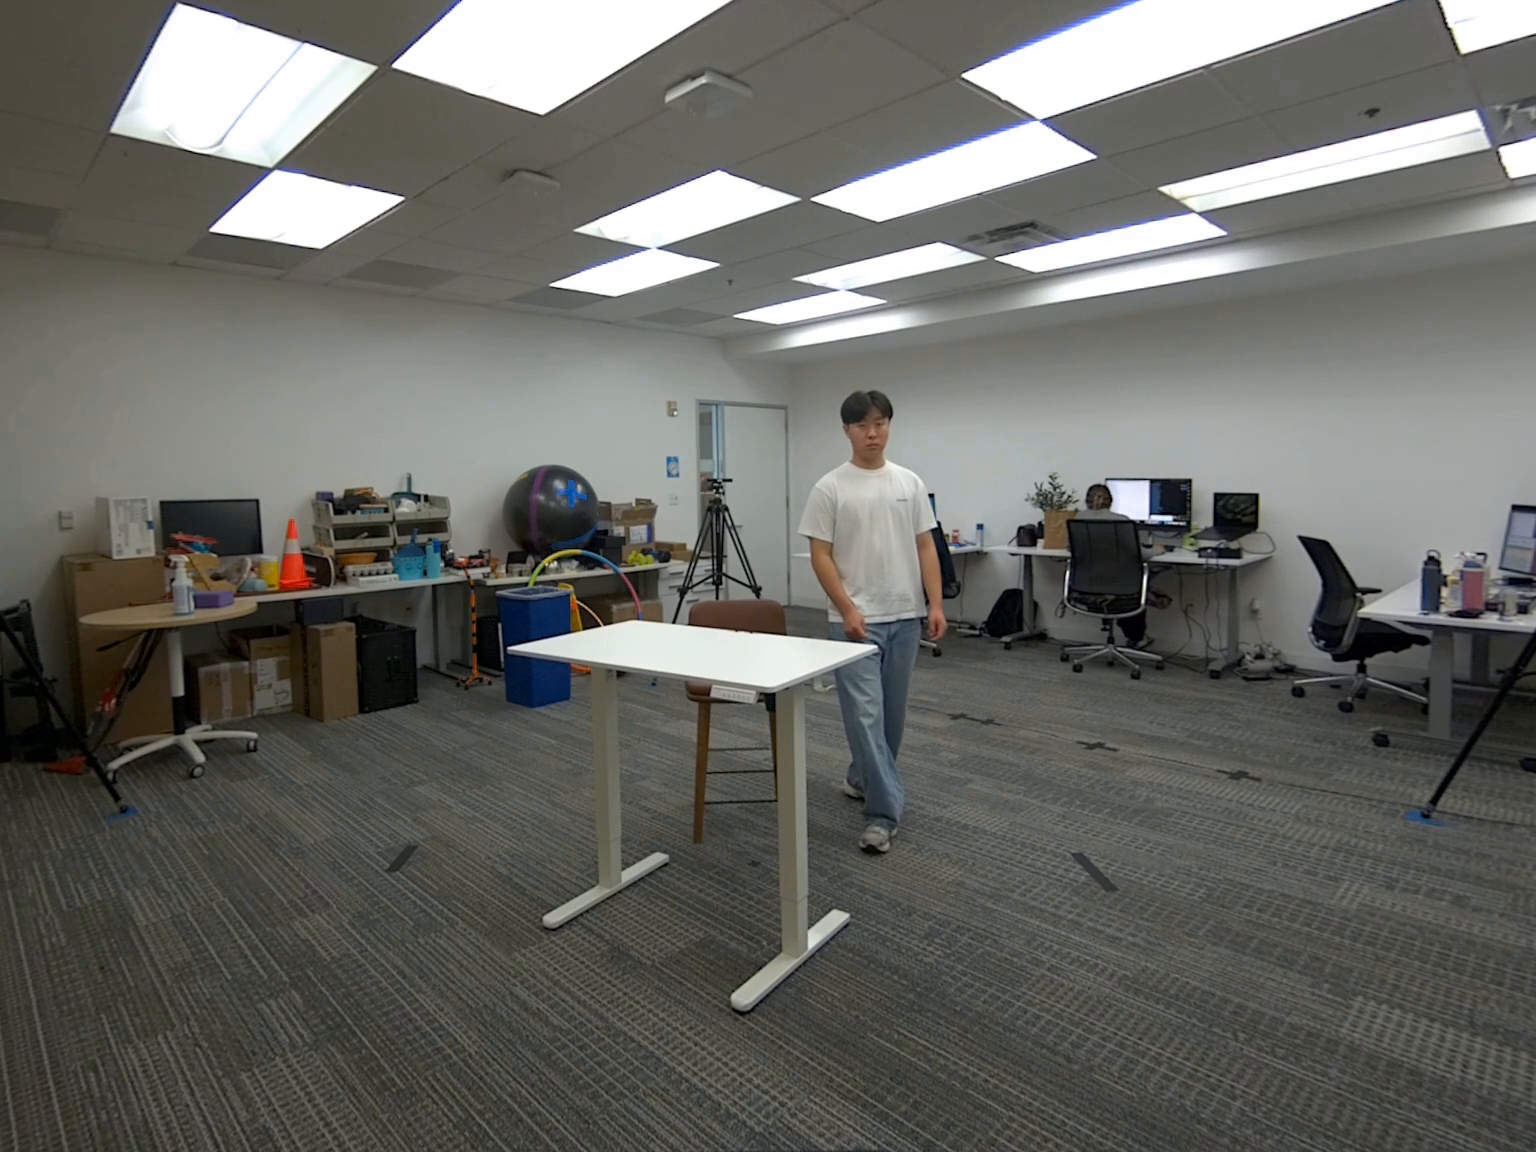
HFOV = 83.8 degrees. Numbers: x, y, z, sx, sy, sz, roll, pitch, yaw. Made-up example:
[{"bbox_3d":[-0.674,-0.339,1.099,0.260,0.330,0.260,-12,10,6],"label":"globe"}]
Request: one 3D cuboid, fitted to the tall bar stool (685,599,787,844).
[{"bbox_3d":[-0.102,0.569,3.490,0.455,0.888,0.470,0,2,-4],"label":"tall bar stool"}]
